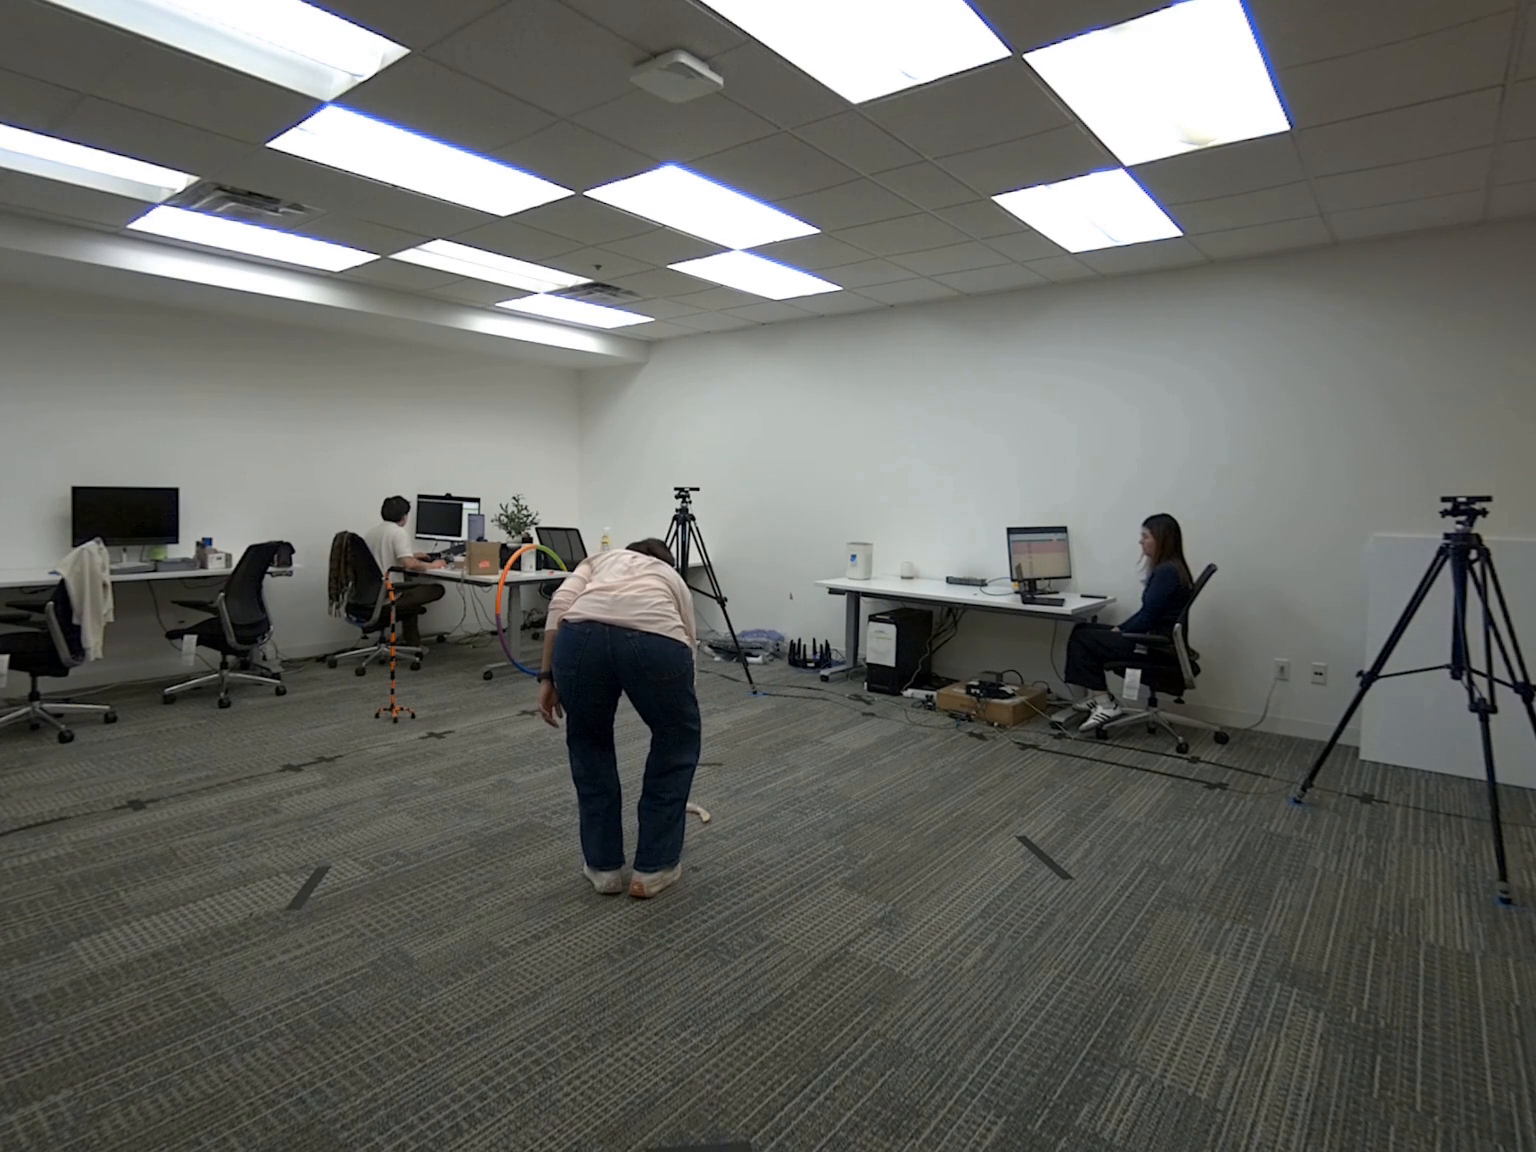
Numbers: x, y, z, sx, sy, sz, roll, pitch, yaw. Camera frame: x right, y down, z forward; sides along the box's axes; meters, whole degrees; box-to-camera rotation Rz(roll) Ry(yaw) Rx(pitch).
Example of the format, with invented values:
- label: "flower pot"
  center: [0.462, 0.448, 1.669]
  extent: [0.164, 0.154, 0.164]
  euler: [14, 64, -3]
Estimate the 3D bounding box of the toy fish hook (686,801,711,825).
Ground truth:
- label: "toy fish hook"
  center: [-0.343, 1.000, 3.449]
  extent: [0.223, 0.048, 0.513]
  euler: [-1, 6, -9]
